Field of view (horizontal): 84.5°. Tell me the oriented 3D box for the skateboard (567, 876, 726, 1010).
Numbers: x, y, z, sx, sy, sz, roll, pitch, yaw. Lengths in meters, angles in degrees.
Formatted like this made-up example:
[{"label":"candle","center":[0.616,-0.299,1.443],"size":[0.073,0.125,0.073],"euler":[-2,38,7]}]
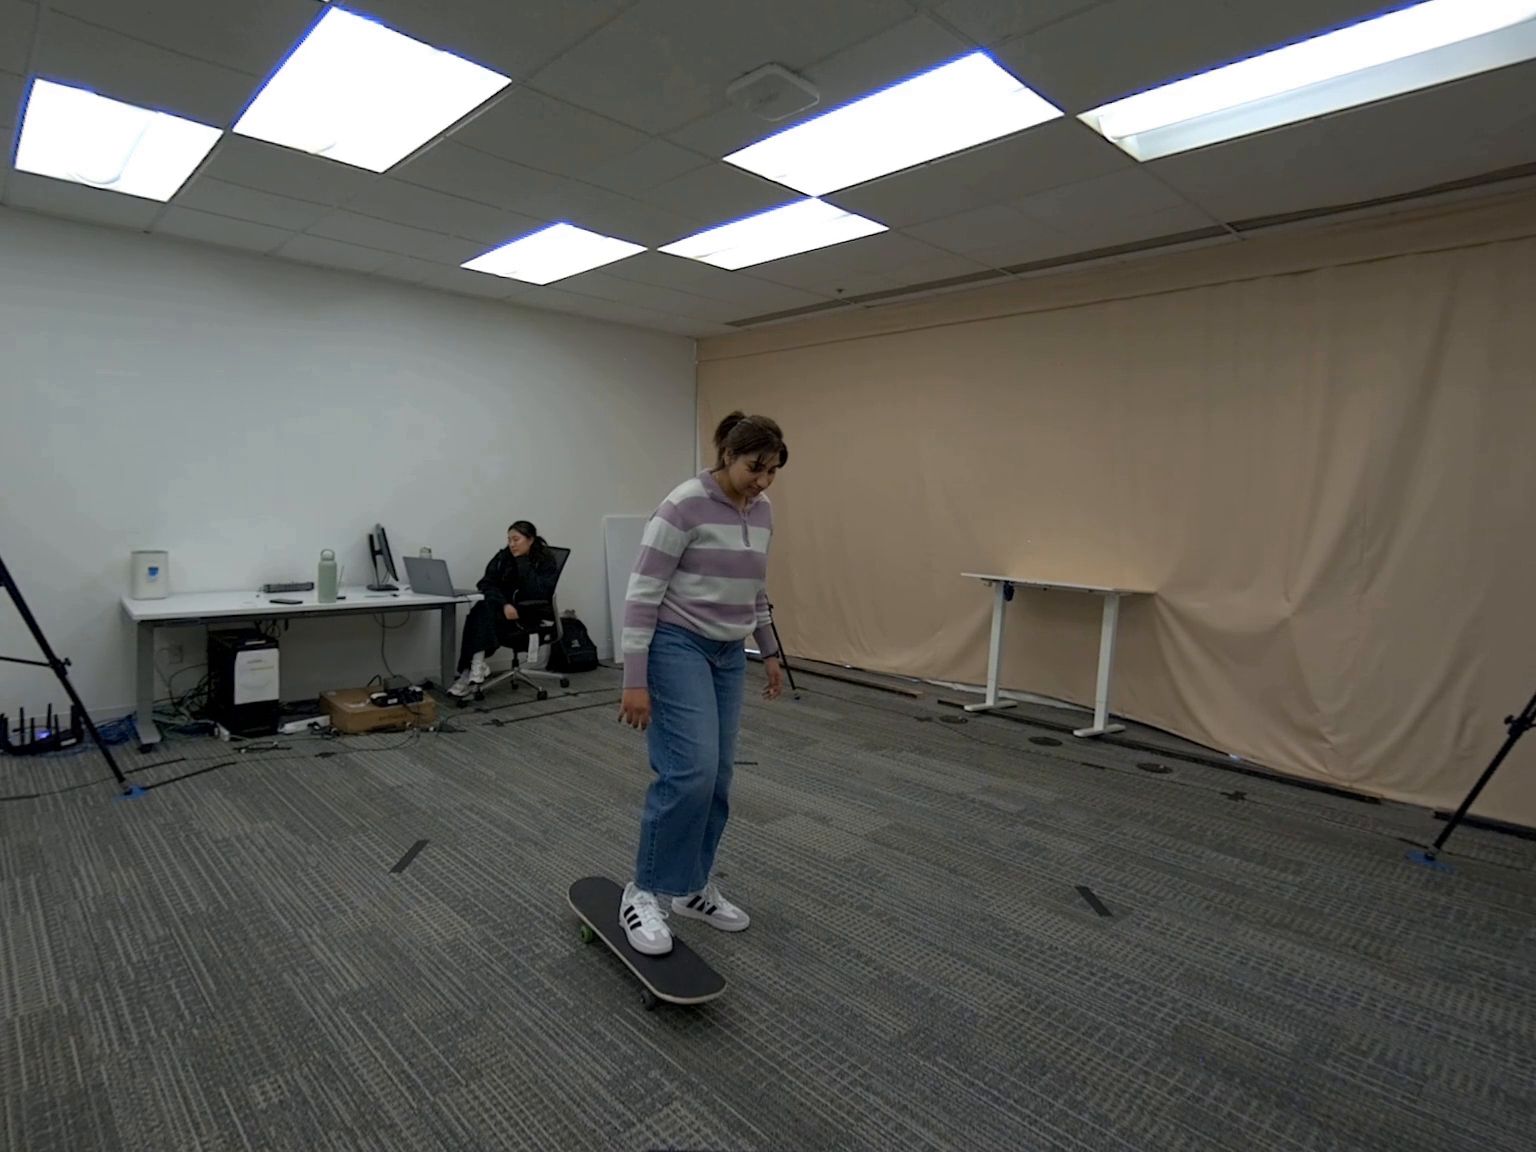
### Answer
[{"label":"skateboard","center":[-0.391,1.100,2.492],"size":[0.189,0.110,0.805],"euler":[-1,5,-36]}]
